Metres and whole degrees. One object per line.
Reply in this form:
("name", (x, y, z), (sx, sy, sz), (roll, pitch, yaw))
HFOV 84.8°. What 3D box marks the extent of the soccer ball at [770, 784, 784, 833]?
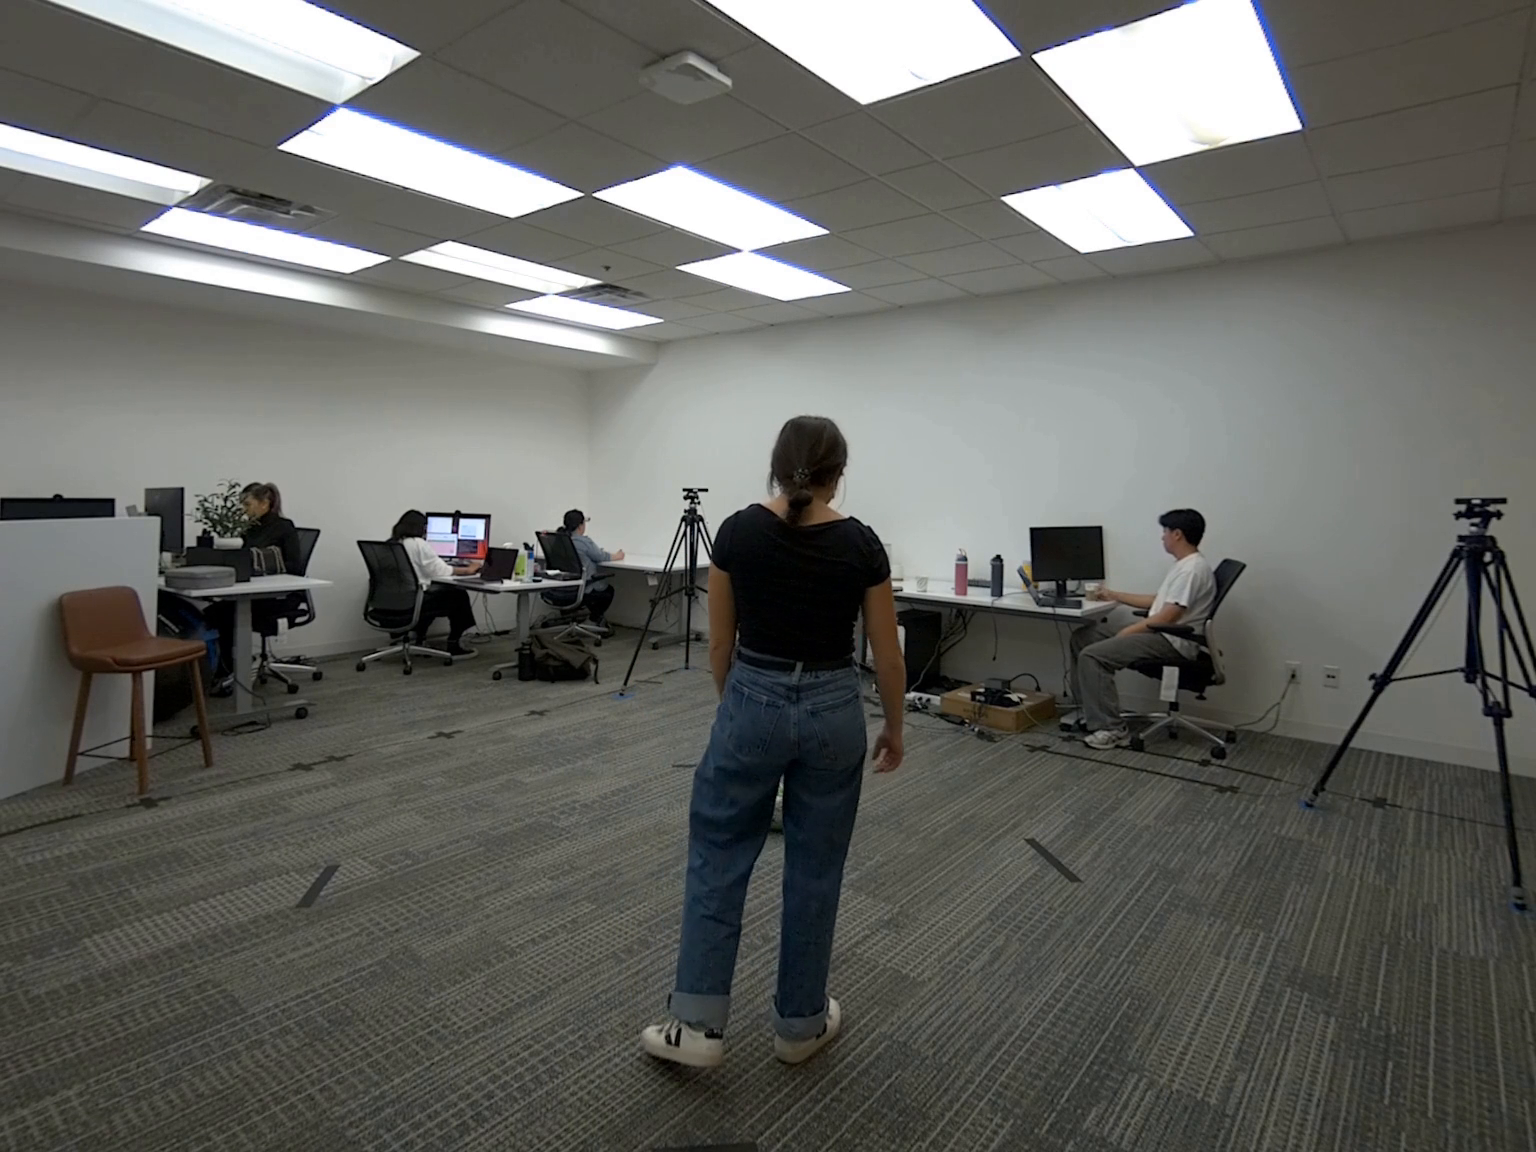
("soccer ball", (0.044, 0.923, 3.492), (0.187, 0.187, 0.188), (1, 4, -2))
